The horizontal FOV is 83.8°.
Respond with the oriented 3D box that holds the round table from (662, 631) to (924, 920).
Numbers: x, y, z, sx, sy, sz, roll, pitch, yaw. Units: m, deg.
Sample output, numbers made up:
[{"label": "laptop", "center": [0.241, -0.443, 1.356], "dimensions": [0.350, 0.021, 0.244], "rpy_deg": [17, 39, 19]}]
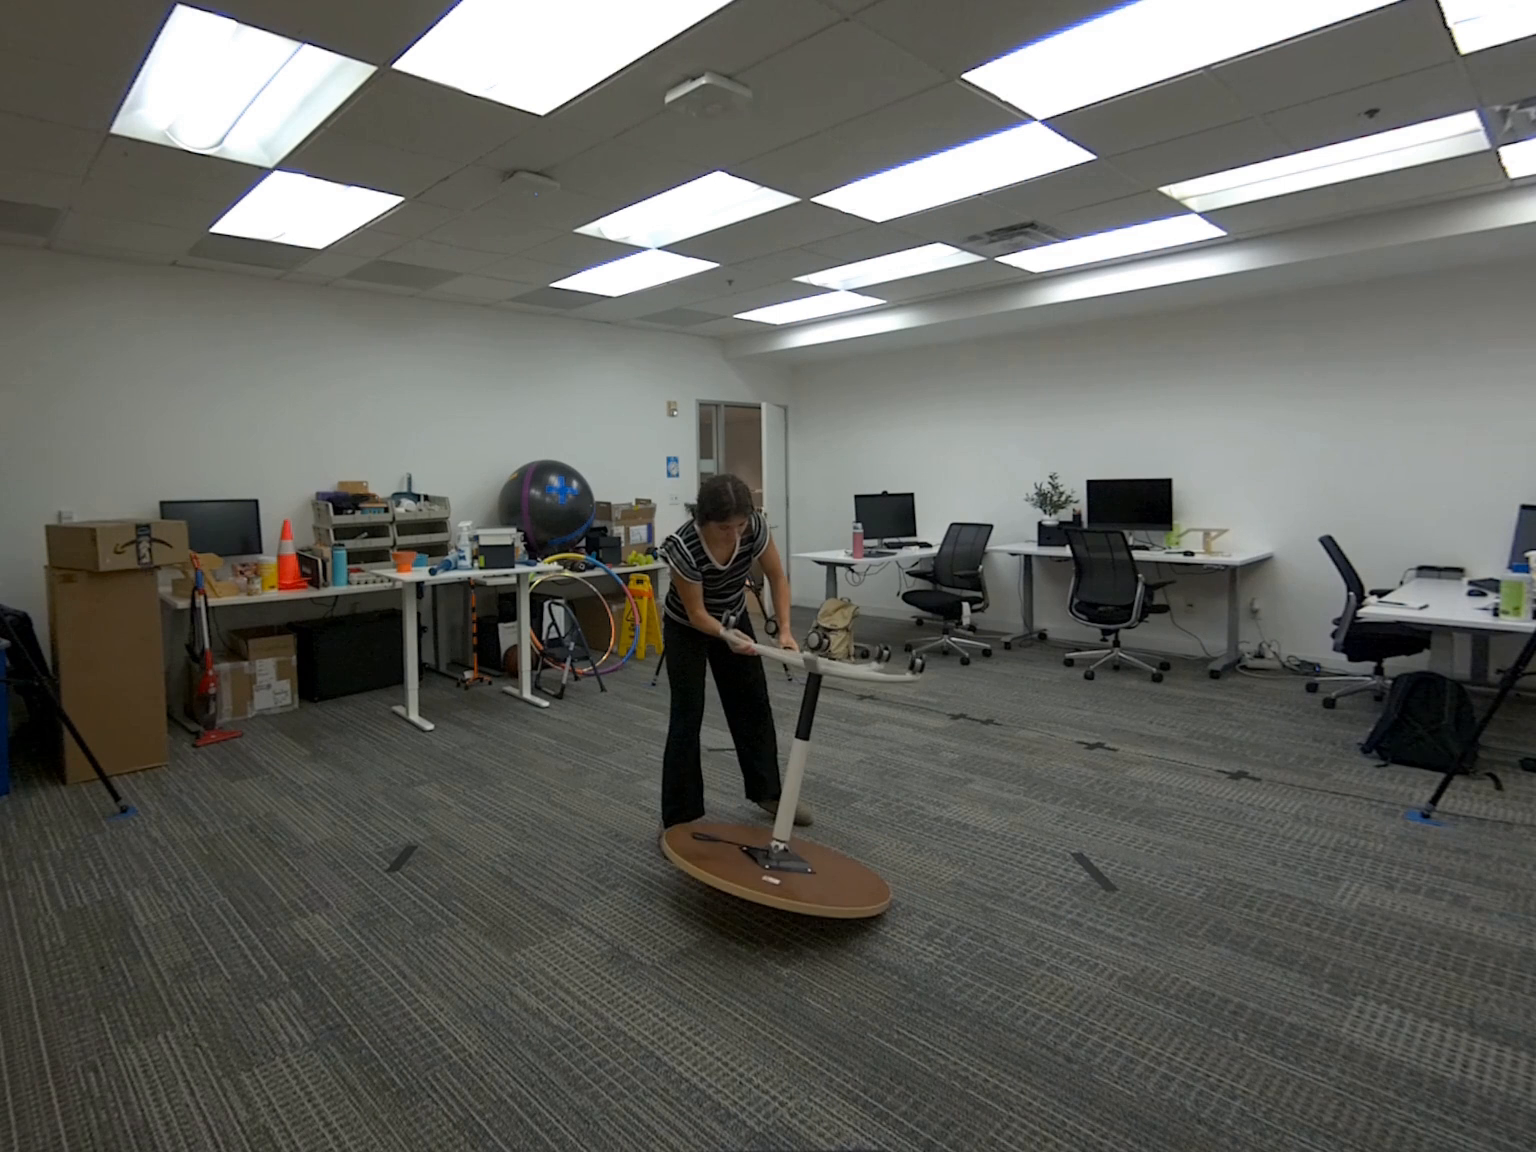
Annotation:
[{"label": "round table", "center": [0.115, 0.586, 2.867], "dimensions": [0.764, 0.796, 0.762], "rpy_deg": [12, -4, -1]}]
